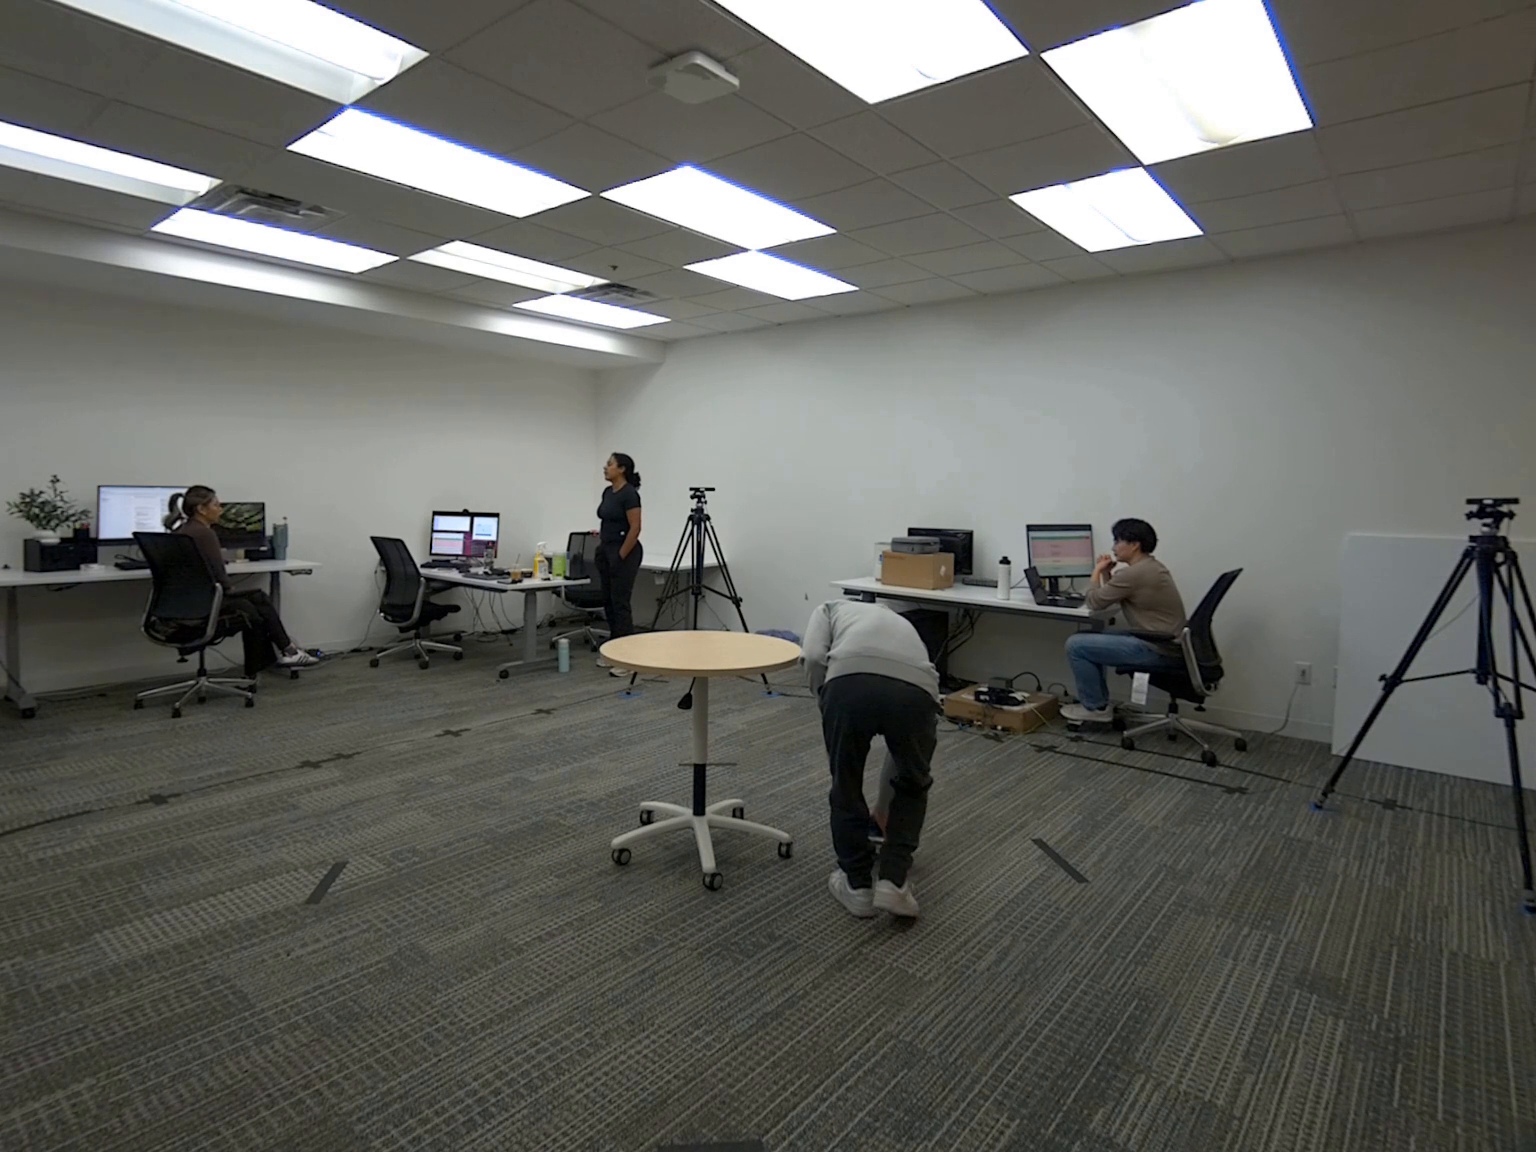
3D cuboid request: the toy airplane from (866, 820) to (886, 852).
[{"bbox_3d":[0.425,0.968,3.184,0.252,0.158,0.255,13,-18,2],"label":"toy airplane"}]
